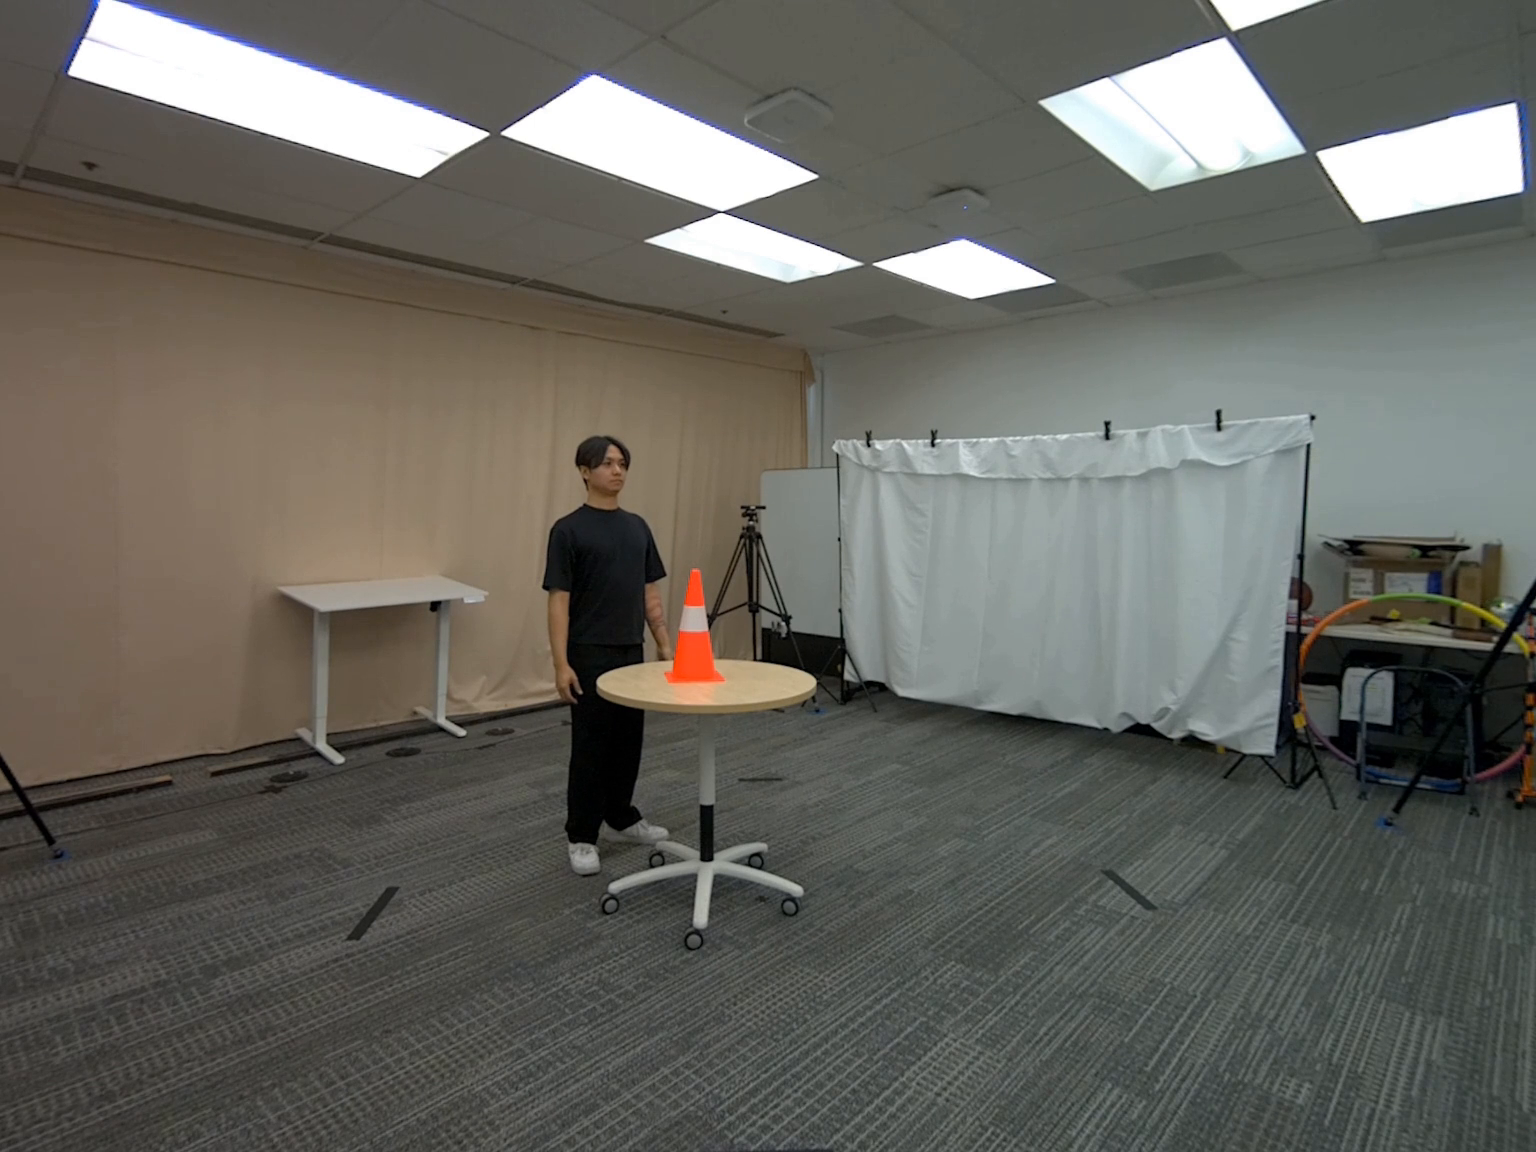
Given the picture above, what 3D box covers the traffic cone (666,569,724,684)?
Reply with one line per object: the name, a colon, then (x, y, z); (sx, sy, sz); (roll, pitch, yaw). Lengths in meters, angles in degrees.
traffic cone: (-0.256, 0.172, 2.989); (0.202, 0.383, 0.206); (1, 3, -13)
